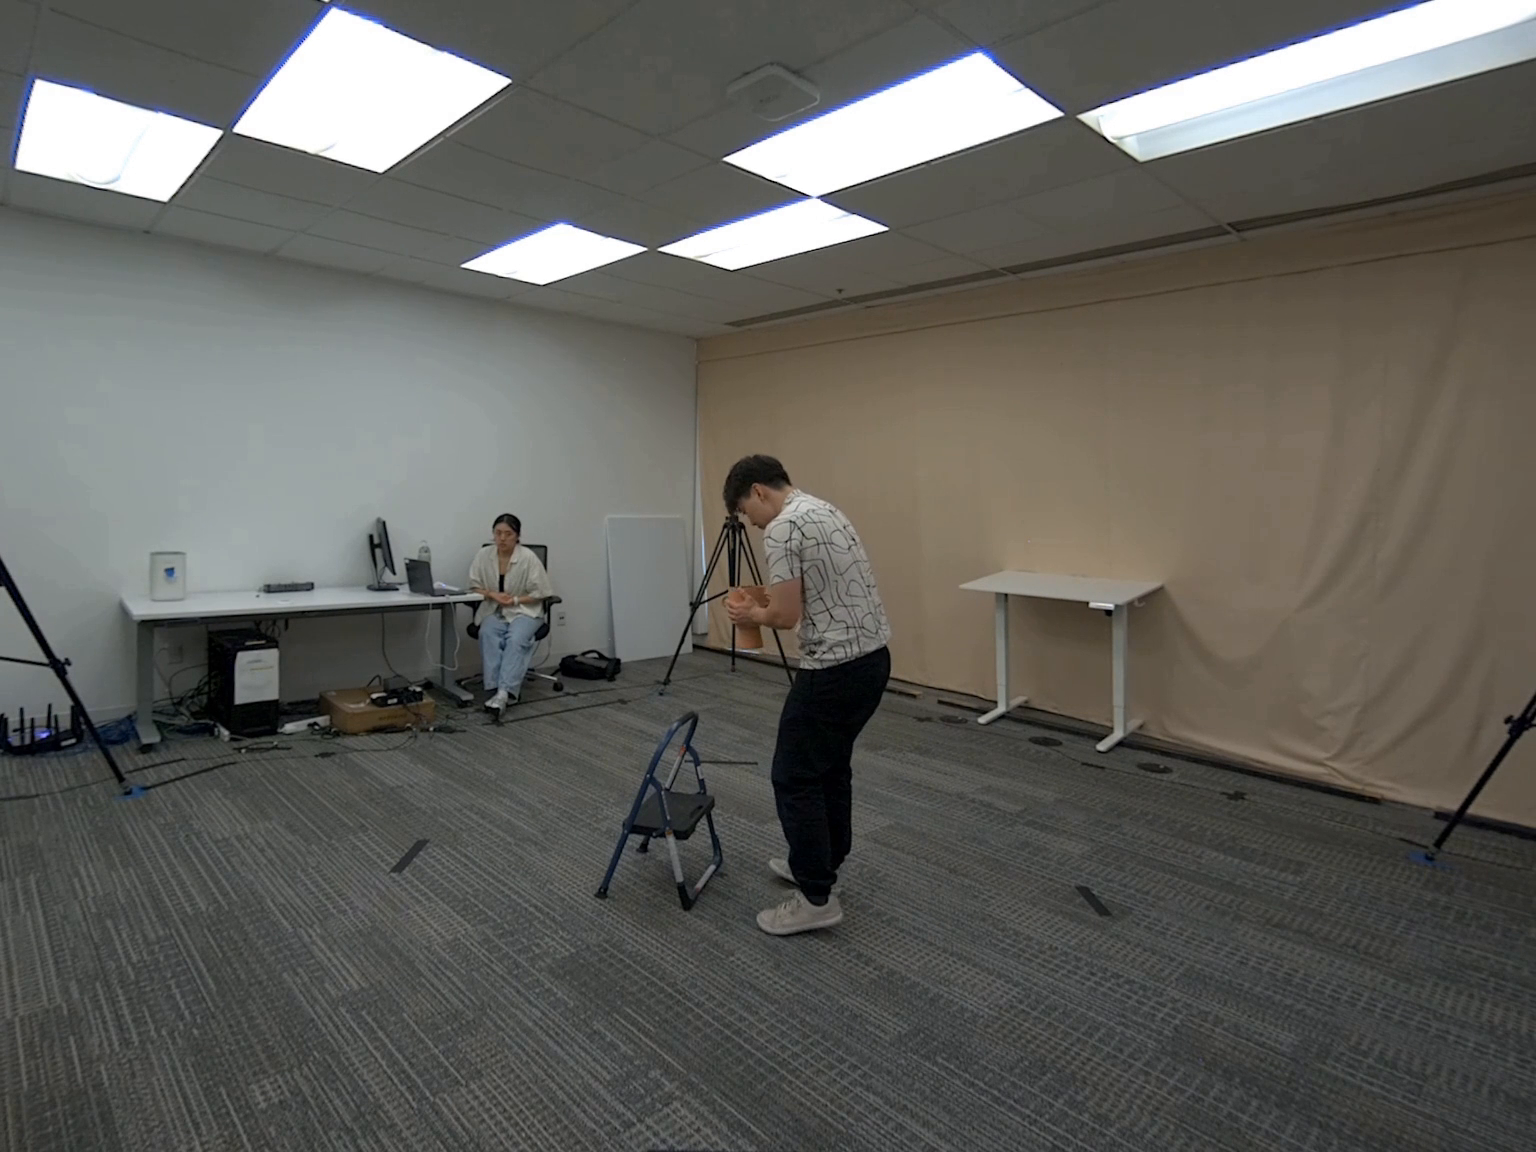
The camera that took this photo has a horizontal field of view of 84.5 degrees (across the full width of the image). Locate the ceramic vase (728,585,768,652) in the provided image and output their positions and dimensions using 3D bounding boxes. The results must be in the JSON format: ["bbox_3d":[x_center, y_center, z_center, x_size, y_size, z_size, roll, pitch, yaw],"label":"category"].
[{"bbox_3d":[-0.071,0.149,3.035,0.132,0.219,0.162,-6,4,-36],"label":"ceramic vase"}]
